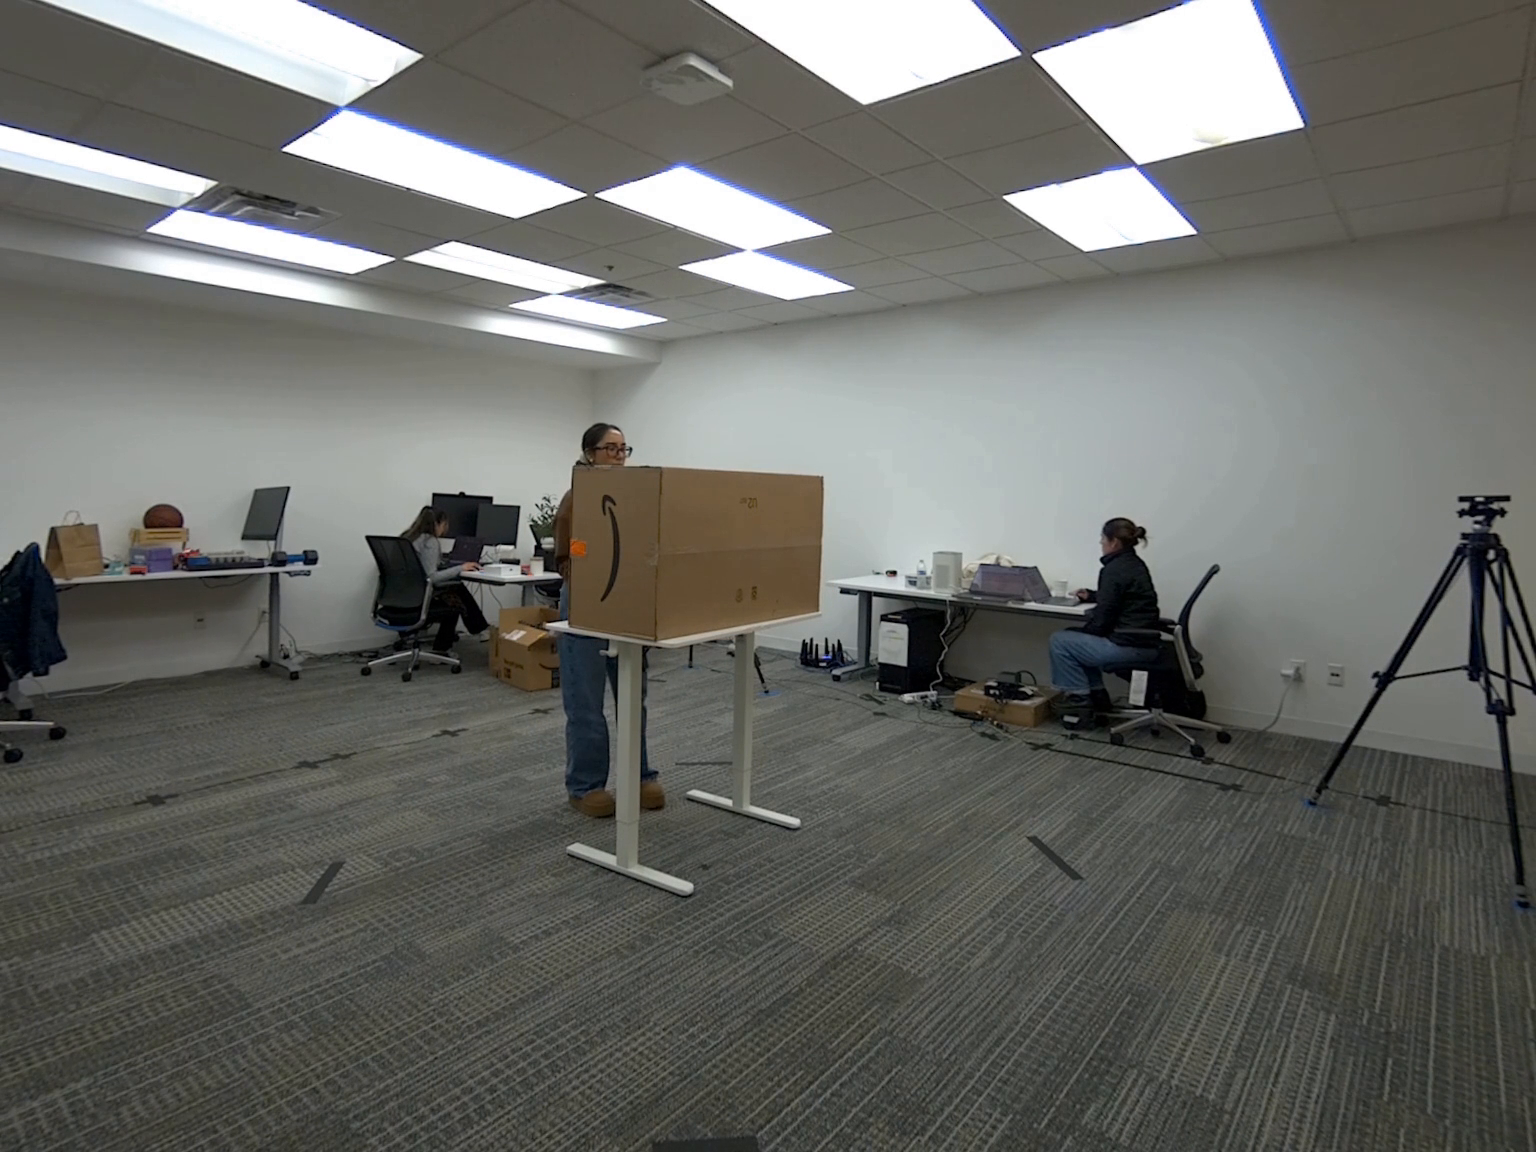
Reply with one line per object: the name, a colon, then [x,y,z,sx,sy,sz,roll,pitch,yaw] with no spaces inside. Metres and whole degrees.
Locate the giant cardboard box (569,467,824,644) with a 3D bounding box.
giant cardboard box: [-0.252,-0.116,3.292,0.440,0.575,0.996,5,6,36]
